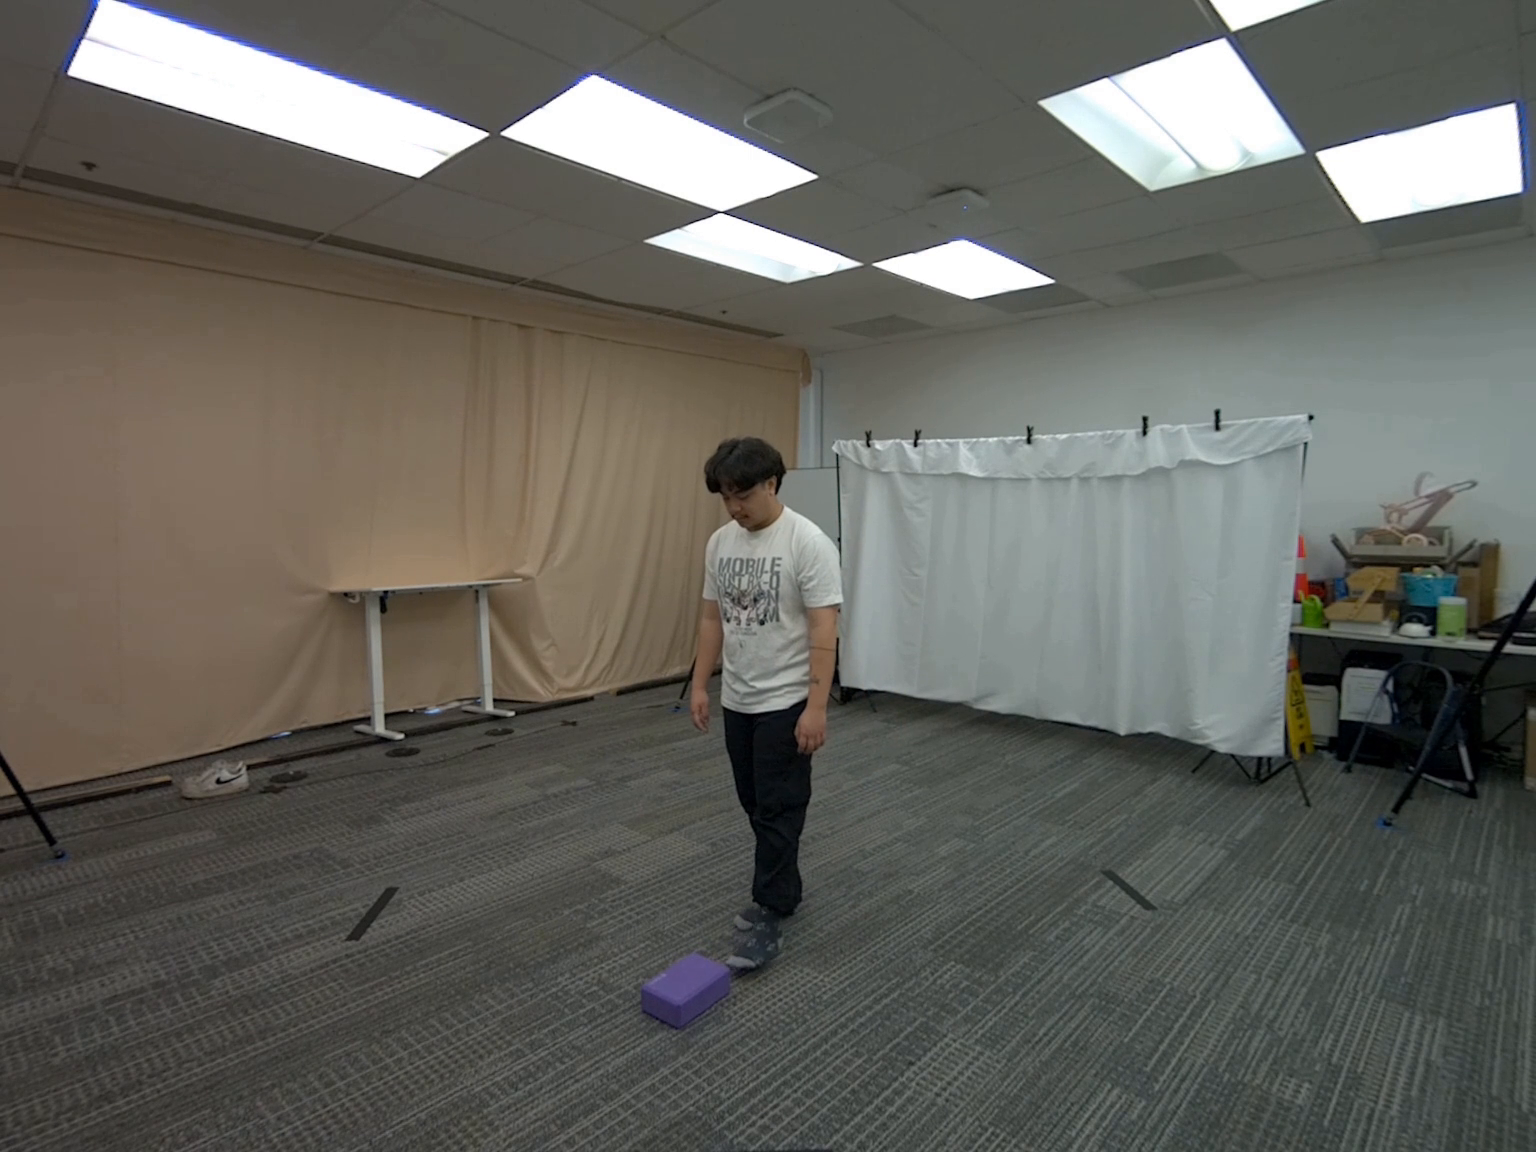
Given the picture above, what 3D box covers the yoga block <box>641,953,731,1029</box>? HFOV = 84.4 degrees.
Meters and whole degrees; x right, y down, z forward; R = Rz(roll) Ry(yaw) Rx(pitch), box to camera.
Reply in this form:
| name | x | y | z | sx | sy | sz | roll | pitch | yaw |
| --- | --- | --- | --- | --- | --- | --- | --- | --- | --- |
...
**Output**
| name | x | y | z | sx | sy | sz | roll | pitch | yaw |
| --- | --- | --- | --- | --- | --- | --- | --- | --- | --- |
| yoga block | -0.226 | 1.159 | 2.360 | 0.154 | 0.076 | 0.223 | 4 | 7 | 36 |
